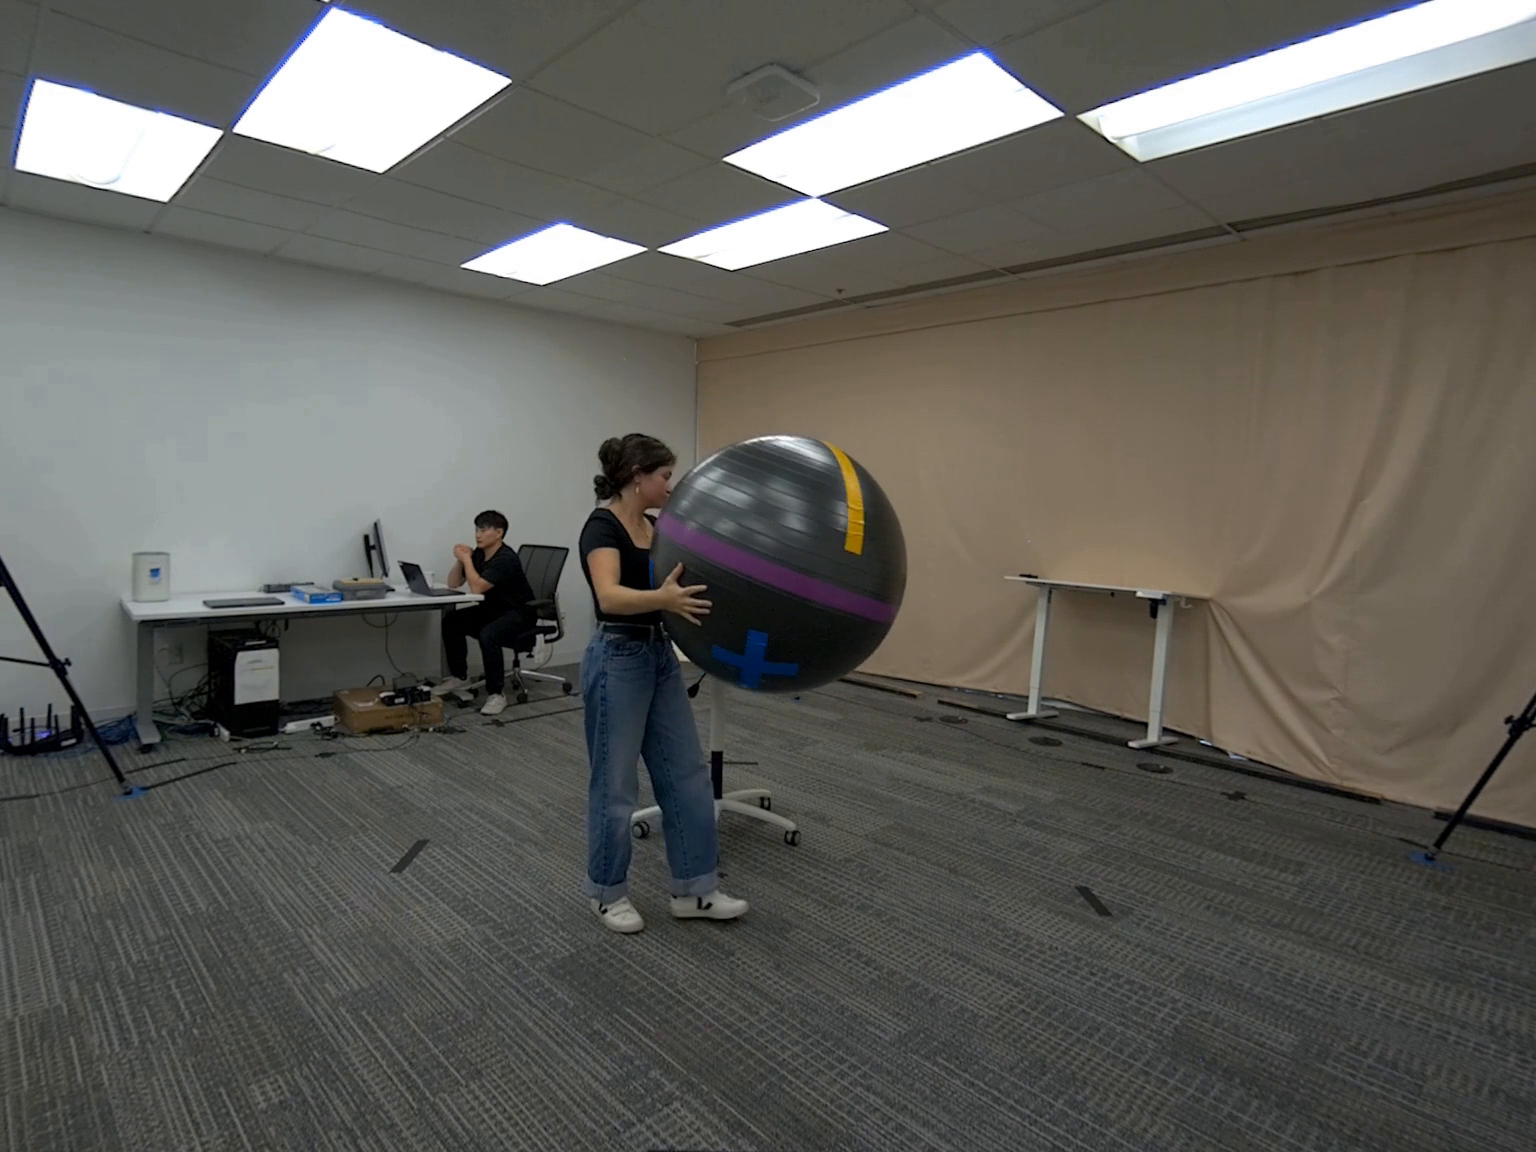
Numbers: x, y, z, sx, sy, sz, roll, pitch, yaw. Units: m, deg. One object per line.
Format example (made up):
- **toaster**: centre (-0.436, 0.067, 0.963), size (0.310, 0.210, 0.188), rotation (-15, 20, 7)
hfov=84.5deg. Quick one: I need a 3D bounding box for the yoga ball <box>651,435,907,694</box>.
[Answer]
- **yoga ball**: centre (0.034, -0.029, 2.477), size (0.757, 0.756, 0.761), rotation (1, 4, -1)
